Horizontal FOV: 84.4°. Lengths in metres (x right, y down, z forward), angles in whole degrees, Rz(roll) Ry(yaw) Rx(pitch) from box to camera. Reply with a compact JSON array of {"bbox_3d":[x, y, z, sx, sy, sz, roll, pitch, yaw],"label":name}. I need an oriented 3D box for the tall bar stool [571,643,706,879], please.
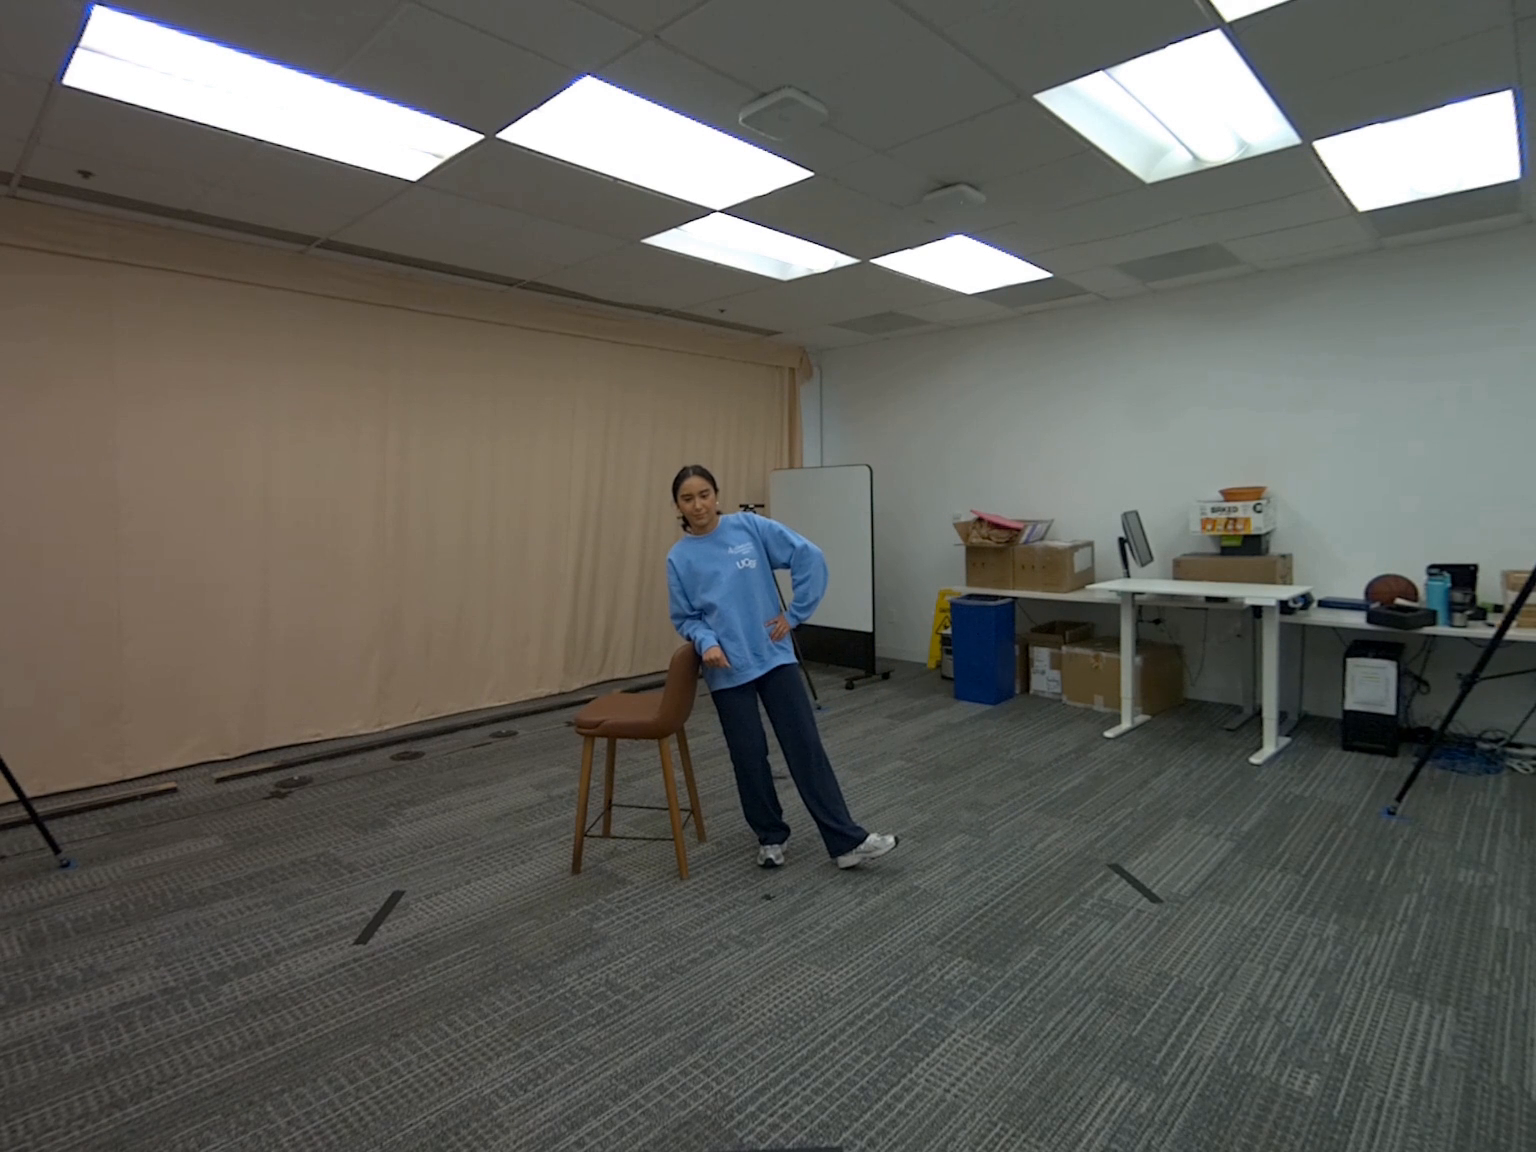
[{"bbox_3d":[-0.504,0.686,3.339,0.473,0.887,0.452,1,4,10],"label":"tall bar stool"}]
